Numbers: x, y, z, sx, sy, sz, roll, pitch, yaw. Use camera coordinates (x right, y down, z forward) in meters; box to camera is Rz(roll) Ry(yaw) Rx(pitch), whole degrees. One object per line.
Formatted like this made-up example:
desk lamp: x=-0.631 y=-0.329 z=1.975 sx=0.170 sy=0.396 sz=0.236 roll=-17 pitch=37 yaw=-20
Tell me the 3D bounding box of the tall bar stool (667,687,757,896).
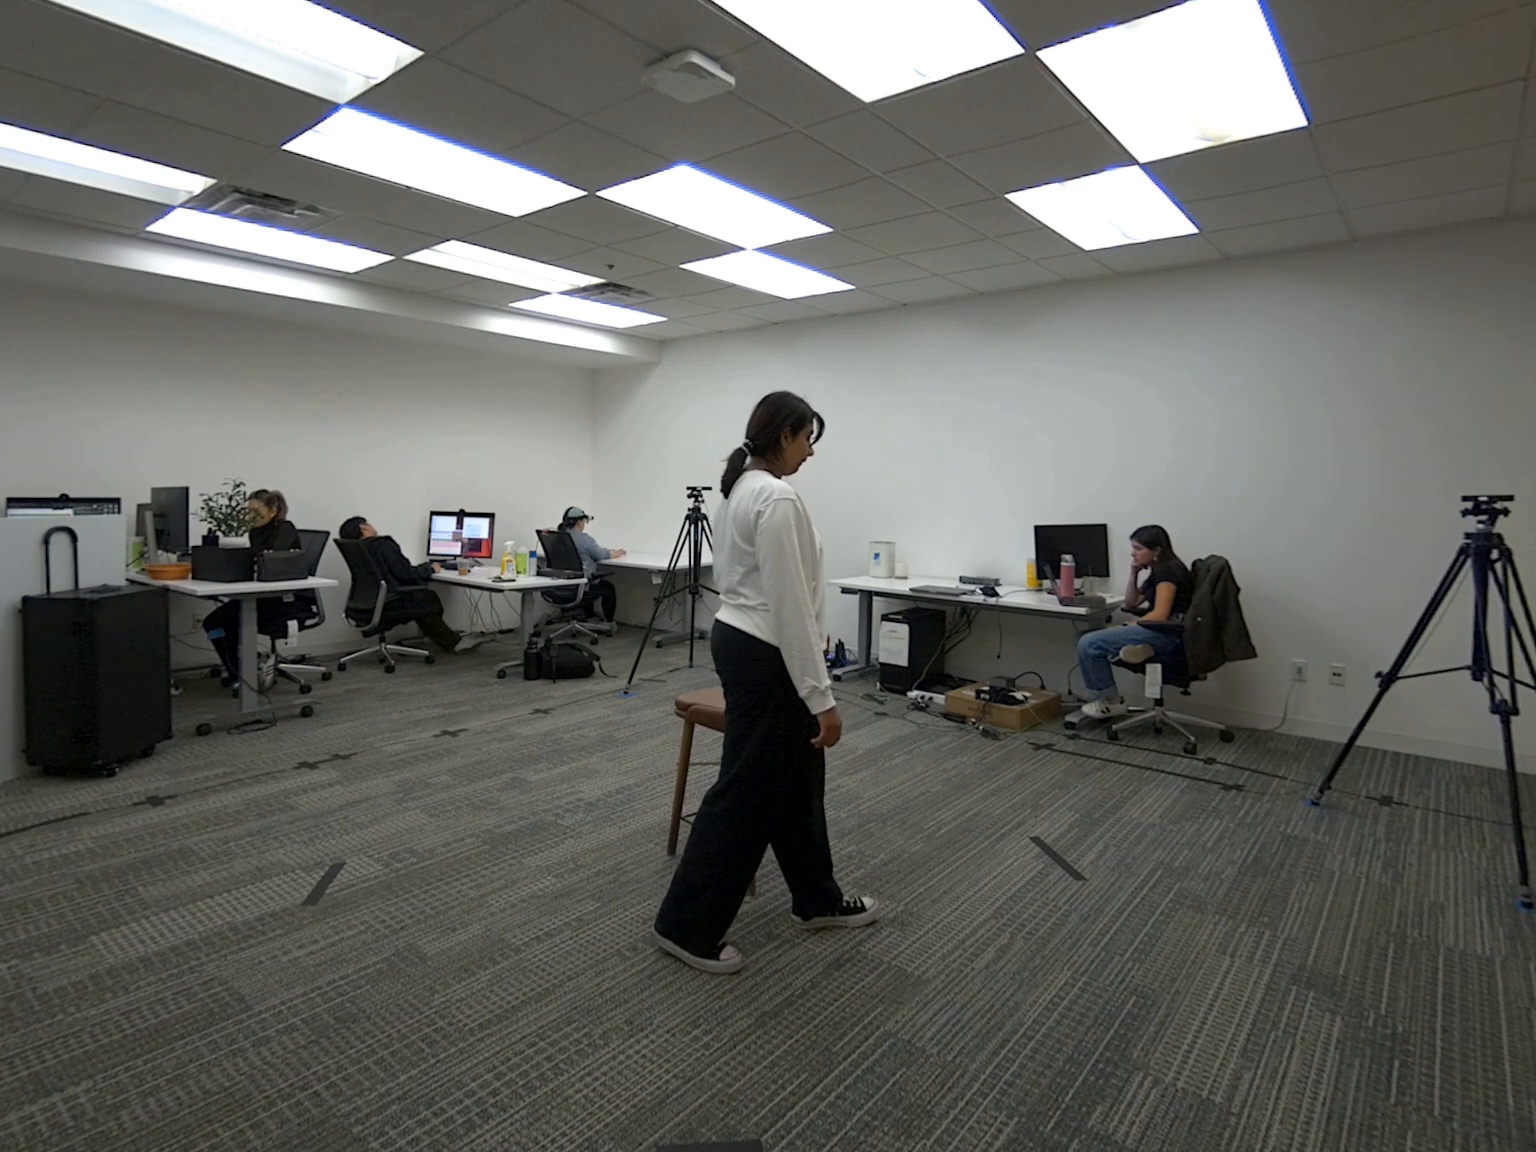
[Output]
tall bar stool: x=-0.066 y=0.624 z=3.157 sx=0.442 sy=0.886 sz=0.484 roll=-1 pitch=6 yaw=-43
